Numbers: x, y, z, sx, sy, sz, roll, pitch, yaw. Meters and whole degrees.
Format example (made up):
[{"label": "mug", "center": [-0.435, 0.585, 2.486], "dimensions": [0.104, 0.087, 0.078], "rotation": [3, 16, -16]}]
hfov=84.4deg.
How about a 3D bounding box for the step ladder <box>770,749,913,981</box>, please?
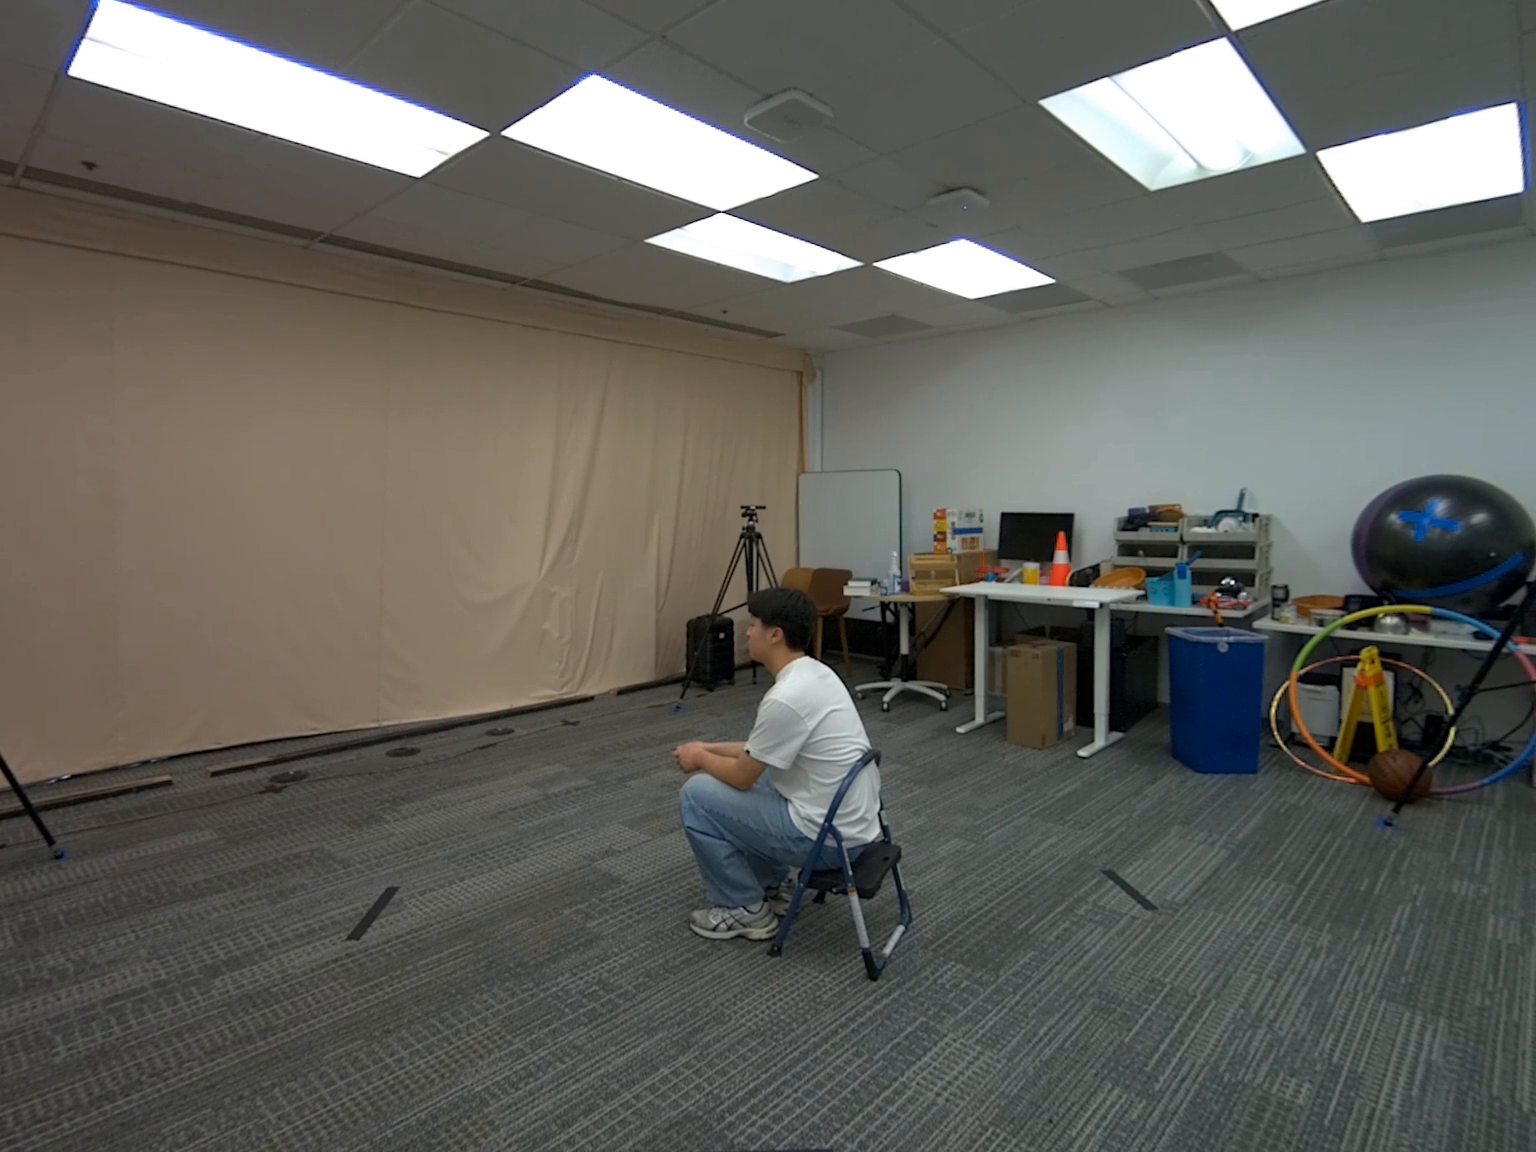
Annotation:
[{"label": "step ladder", "center": [0.251, 0.869, 2.694], "dimensions": [0.358, 0.604, 0.420], "rotation": [2, 5, 26]}]
